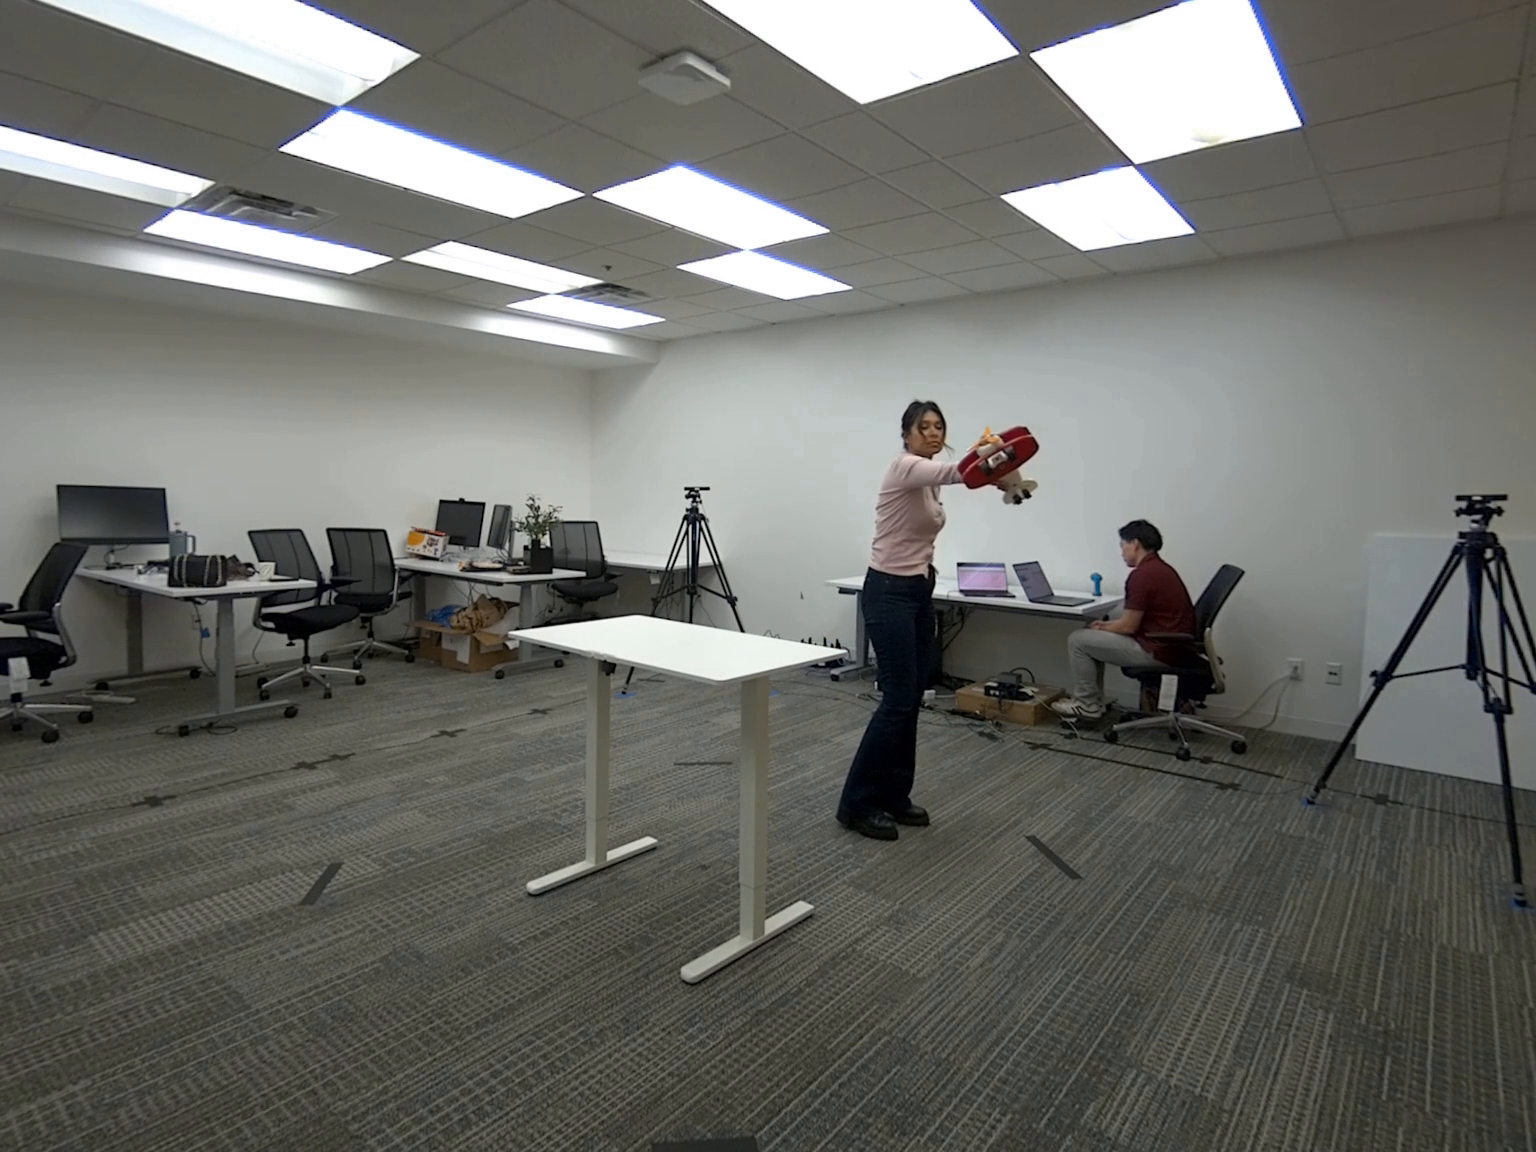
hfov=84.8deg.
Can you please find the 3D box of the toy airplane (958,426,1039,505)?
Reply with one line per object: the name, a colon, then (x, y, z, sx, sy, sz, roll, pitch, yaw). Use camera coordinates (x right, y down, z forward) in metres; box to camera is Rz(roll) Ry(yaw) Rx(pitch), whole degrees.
toy airplane: (0.740, -0.343, 2.766, 0.251, 0.250, 0.162, -10, 42, 1)
